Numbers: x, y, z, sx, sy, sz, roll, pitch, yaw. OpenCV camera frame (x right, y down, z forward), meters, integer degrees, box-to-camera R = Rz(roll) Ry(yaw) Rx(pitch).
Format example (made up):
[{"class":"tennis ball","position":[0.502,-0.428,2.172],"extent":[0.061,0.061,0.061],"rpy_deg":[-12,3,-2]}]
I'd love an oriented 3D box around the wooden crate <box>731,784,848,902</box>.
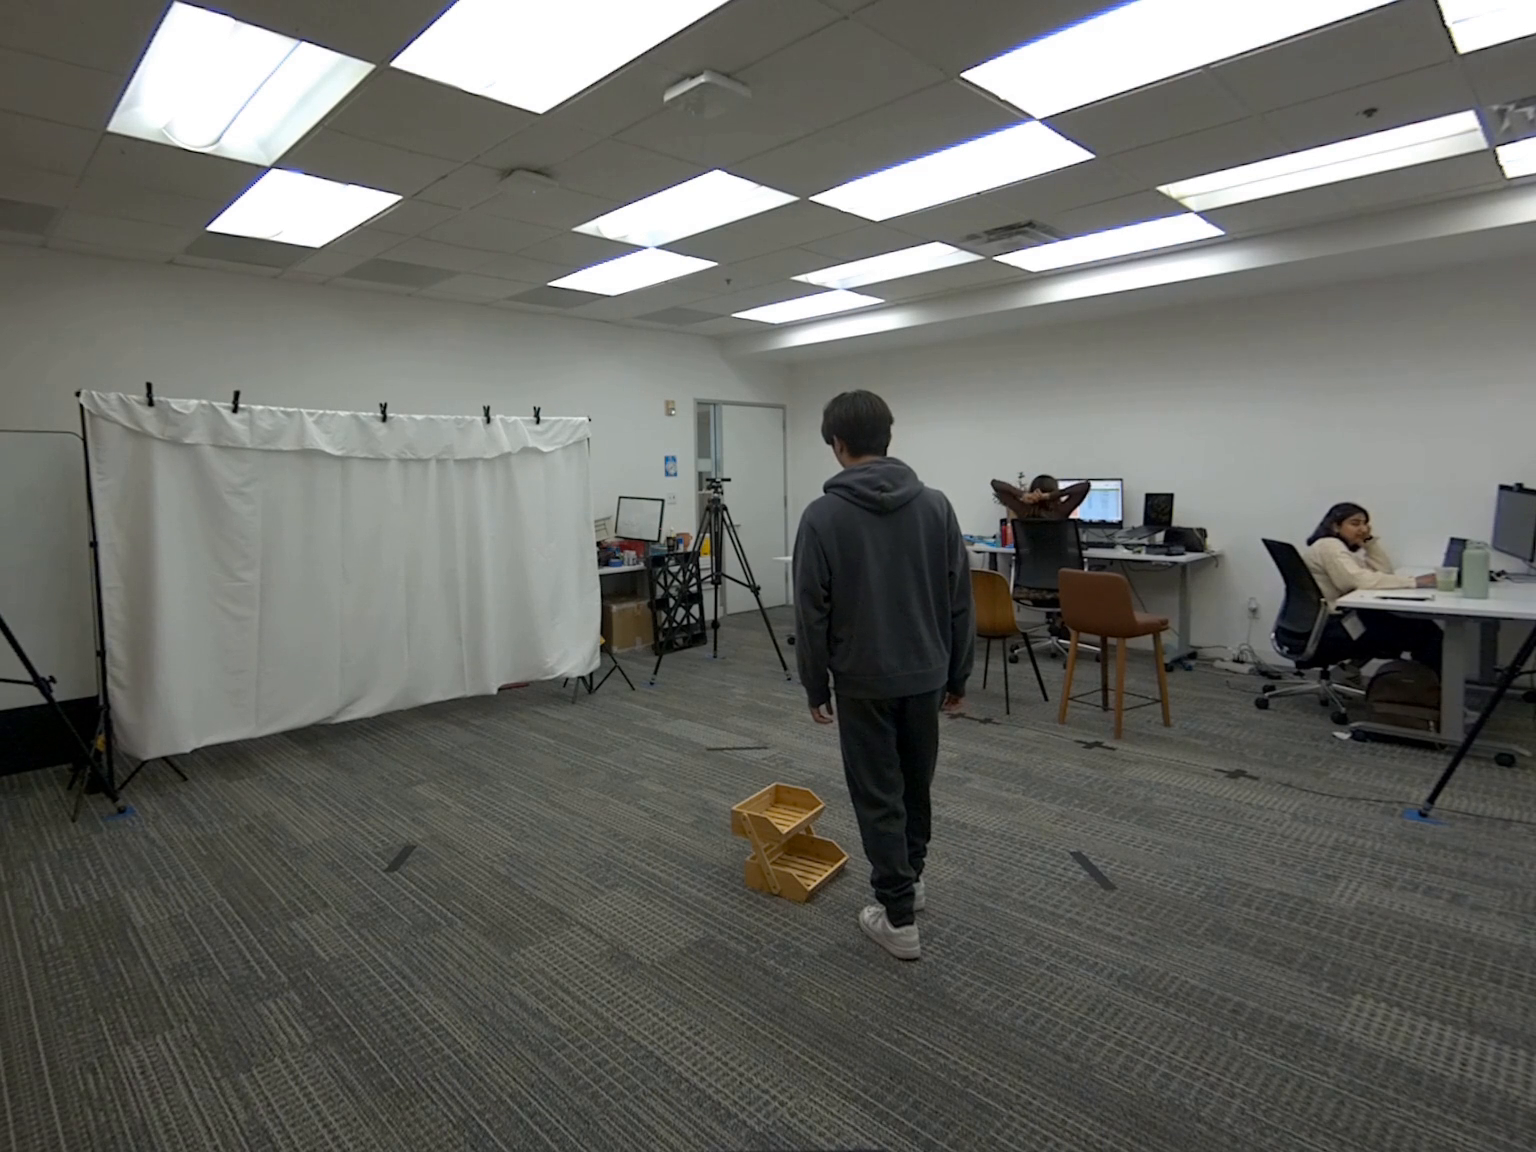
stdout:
[{"class":"wooden crate","position":[0.084,0.920,2.994],"extent":[0.310,0.272,0.317],"rpy_deg":[2,6,33]}]
